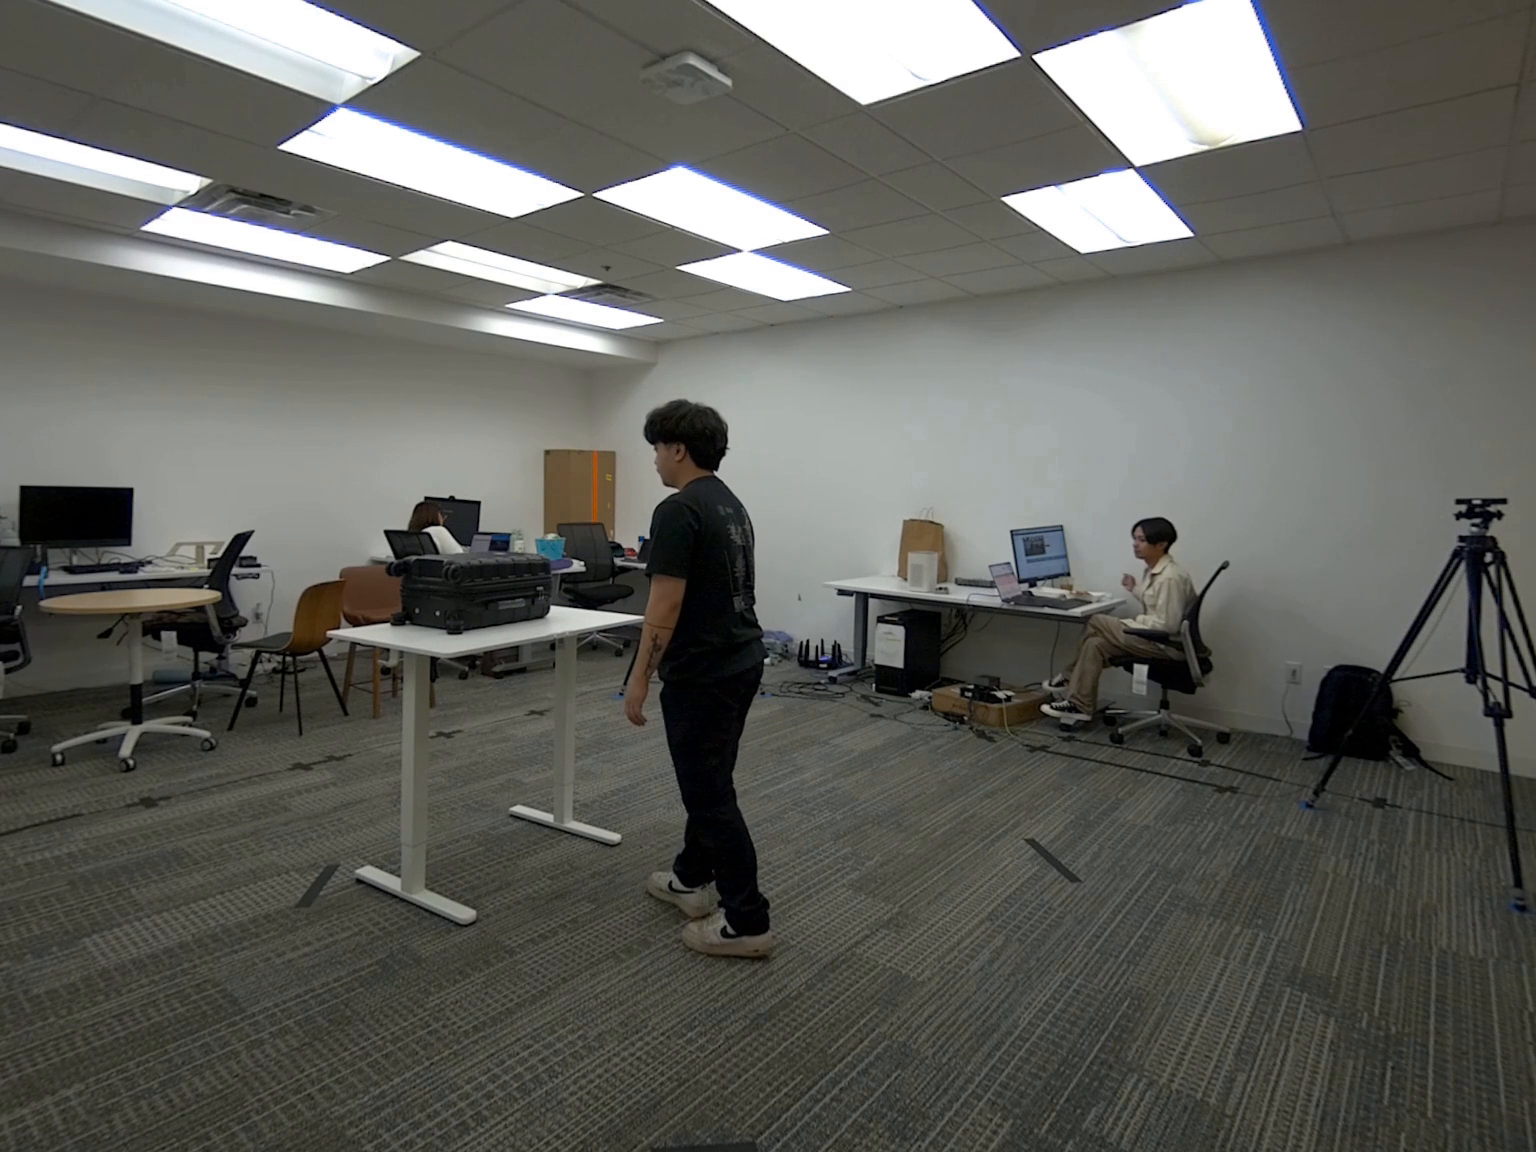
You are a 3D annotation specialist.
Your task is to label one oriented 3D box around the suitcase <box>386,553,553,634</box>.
[{"bbox_3d":[-1.098,0.048,3.174,0.386,0.247,0.536,3,5,29],"label":"suitcase"}]
